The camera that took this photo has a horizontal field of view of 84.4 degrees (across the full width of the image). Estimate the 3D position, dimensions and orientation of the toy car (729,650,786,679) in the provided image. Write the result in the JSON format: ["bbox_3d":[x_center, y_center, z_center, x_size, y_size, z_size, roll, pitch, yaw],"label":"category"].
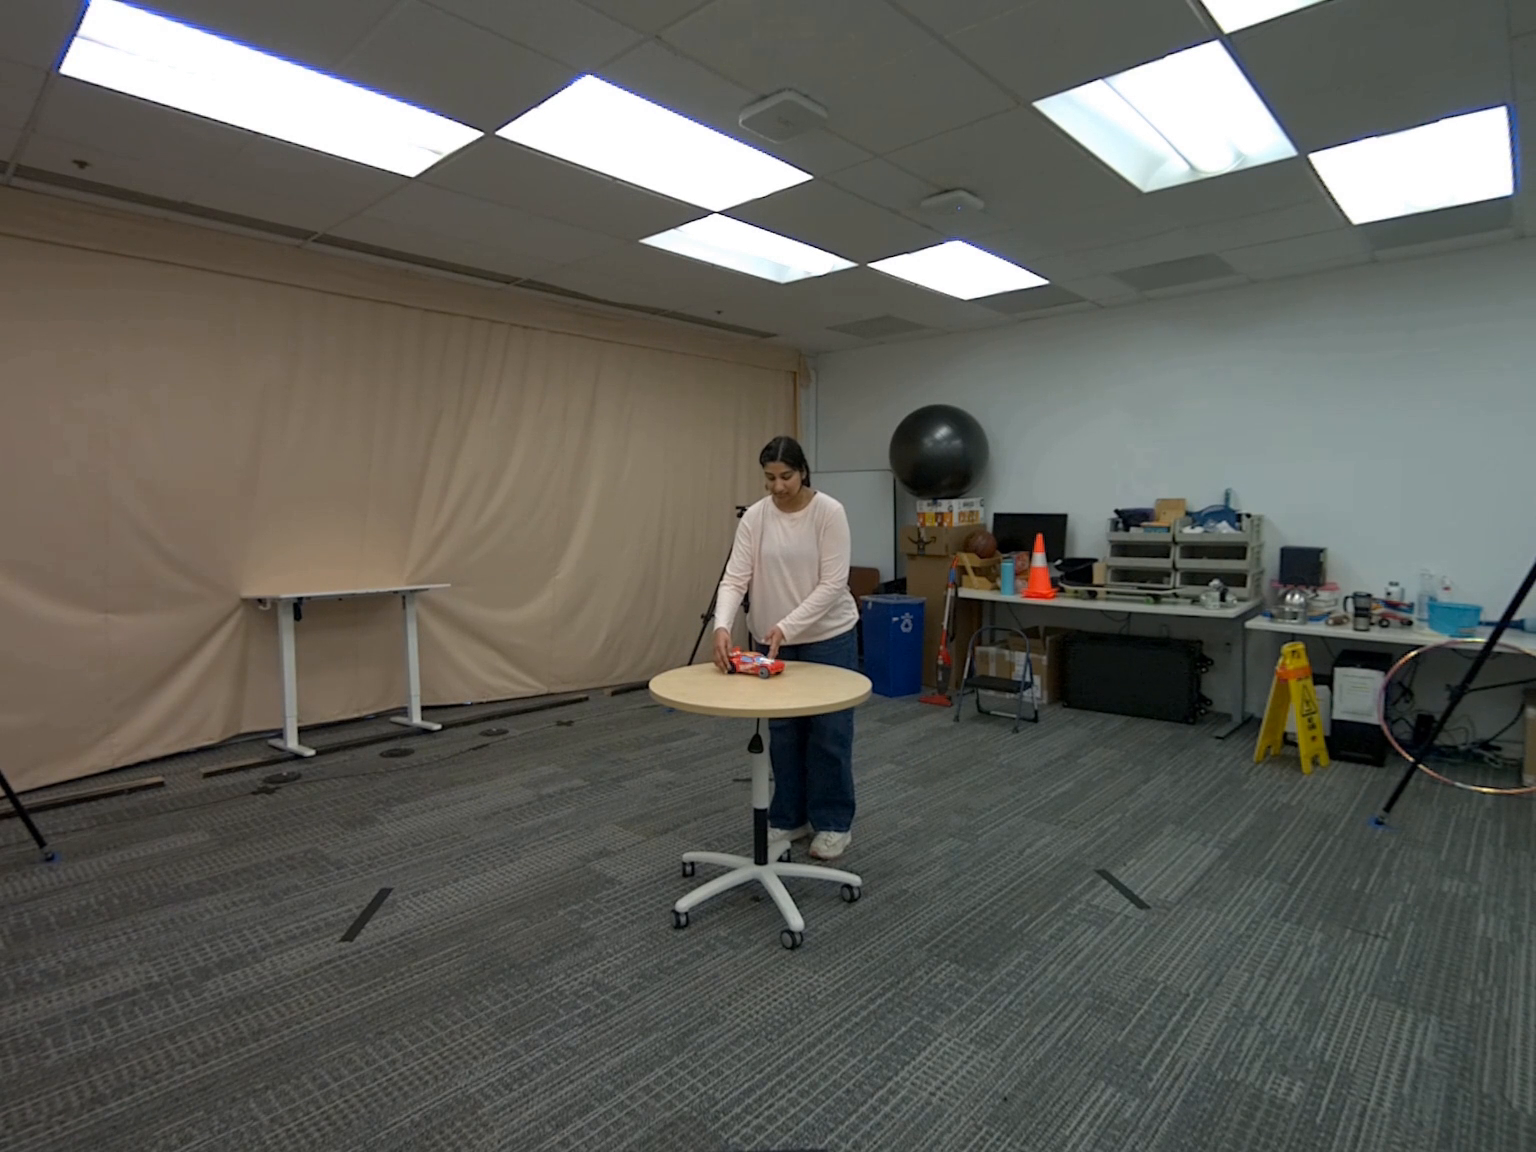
[{"bbox_3d":[-0.069,0.323,3.061,0.263,0.083,0.126,16,14,36],"label":"toy car"}]
